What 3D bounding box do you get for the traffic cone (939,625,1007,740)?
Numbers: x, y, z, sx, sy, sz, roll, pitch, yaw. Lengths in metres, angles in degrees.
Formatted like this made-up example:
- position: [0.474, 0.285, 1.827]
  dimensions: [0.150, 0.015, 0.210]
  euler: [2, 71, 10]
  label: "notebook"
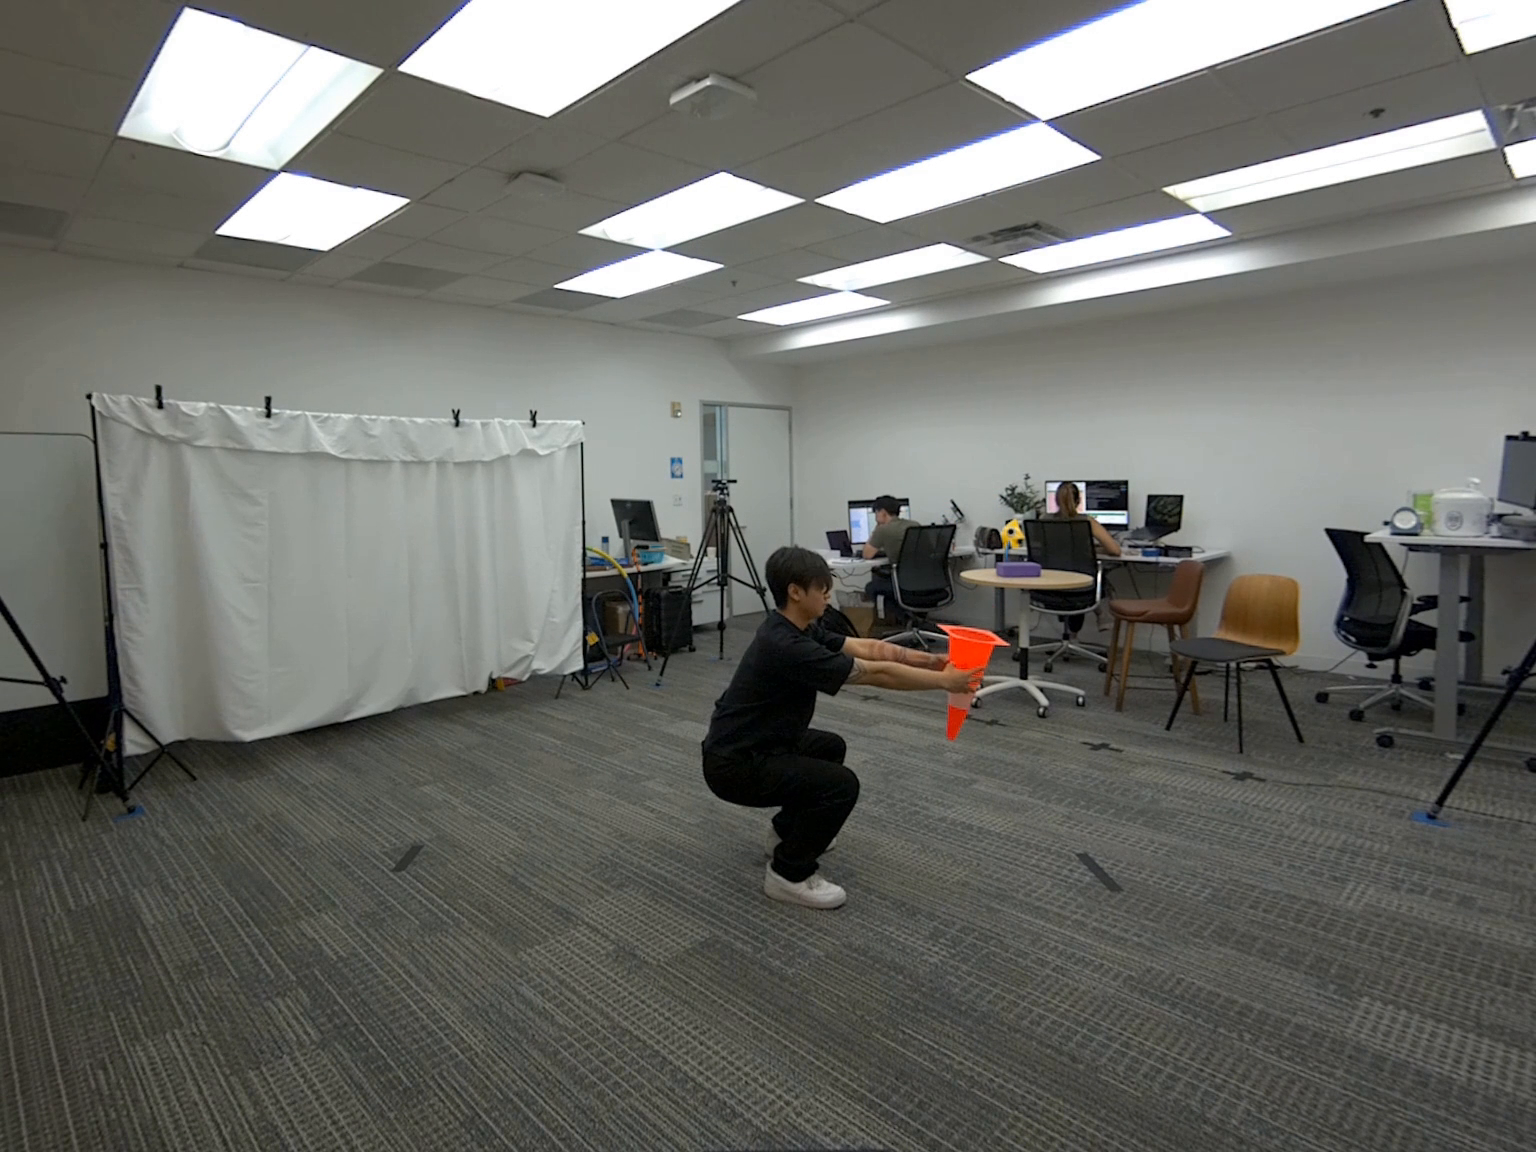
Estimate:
- position: [0.675, 0.386, 2.955]
  dimensions: [0.202, 0.382, 0.207]
  euler: [8, 7, -5]
  label: "traffic cone"
